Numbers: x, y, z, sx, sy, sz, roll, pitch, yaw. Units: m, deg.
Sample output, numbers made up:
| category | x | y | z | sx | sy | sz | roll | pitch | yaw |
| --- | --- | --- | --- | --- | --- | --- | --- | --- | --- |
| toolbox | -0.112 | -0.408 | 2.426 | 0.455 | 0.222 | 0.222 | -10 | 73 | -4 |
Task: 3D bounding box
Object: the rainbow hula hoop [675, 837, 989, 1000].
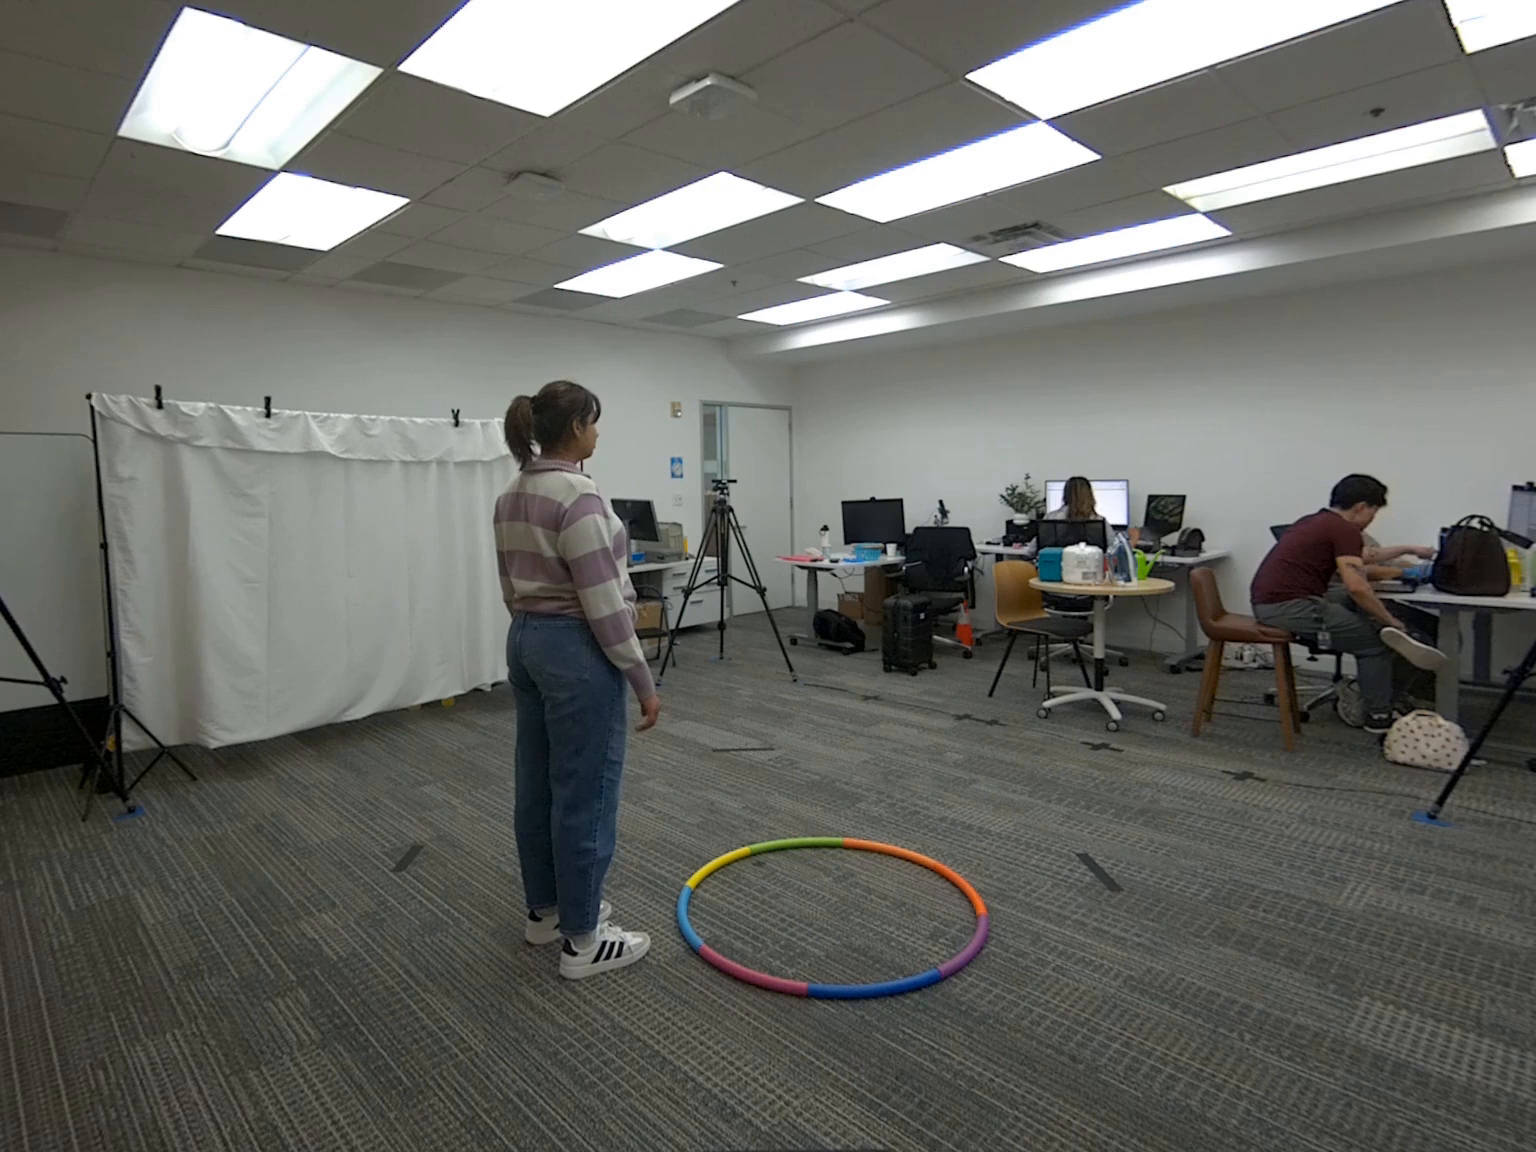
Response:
| category | x | y | z | sx | sy | sz | roll | pitch | yaw |
| --- | --- | --- | --- | --- | --- | --- | --- | --- | --- |
| rainbow hula hoop | 0.200 | 1.055 | 2.775 | 0.985 | 0.051 | 0.991 | -1 | 7 | -2 |
